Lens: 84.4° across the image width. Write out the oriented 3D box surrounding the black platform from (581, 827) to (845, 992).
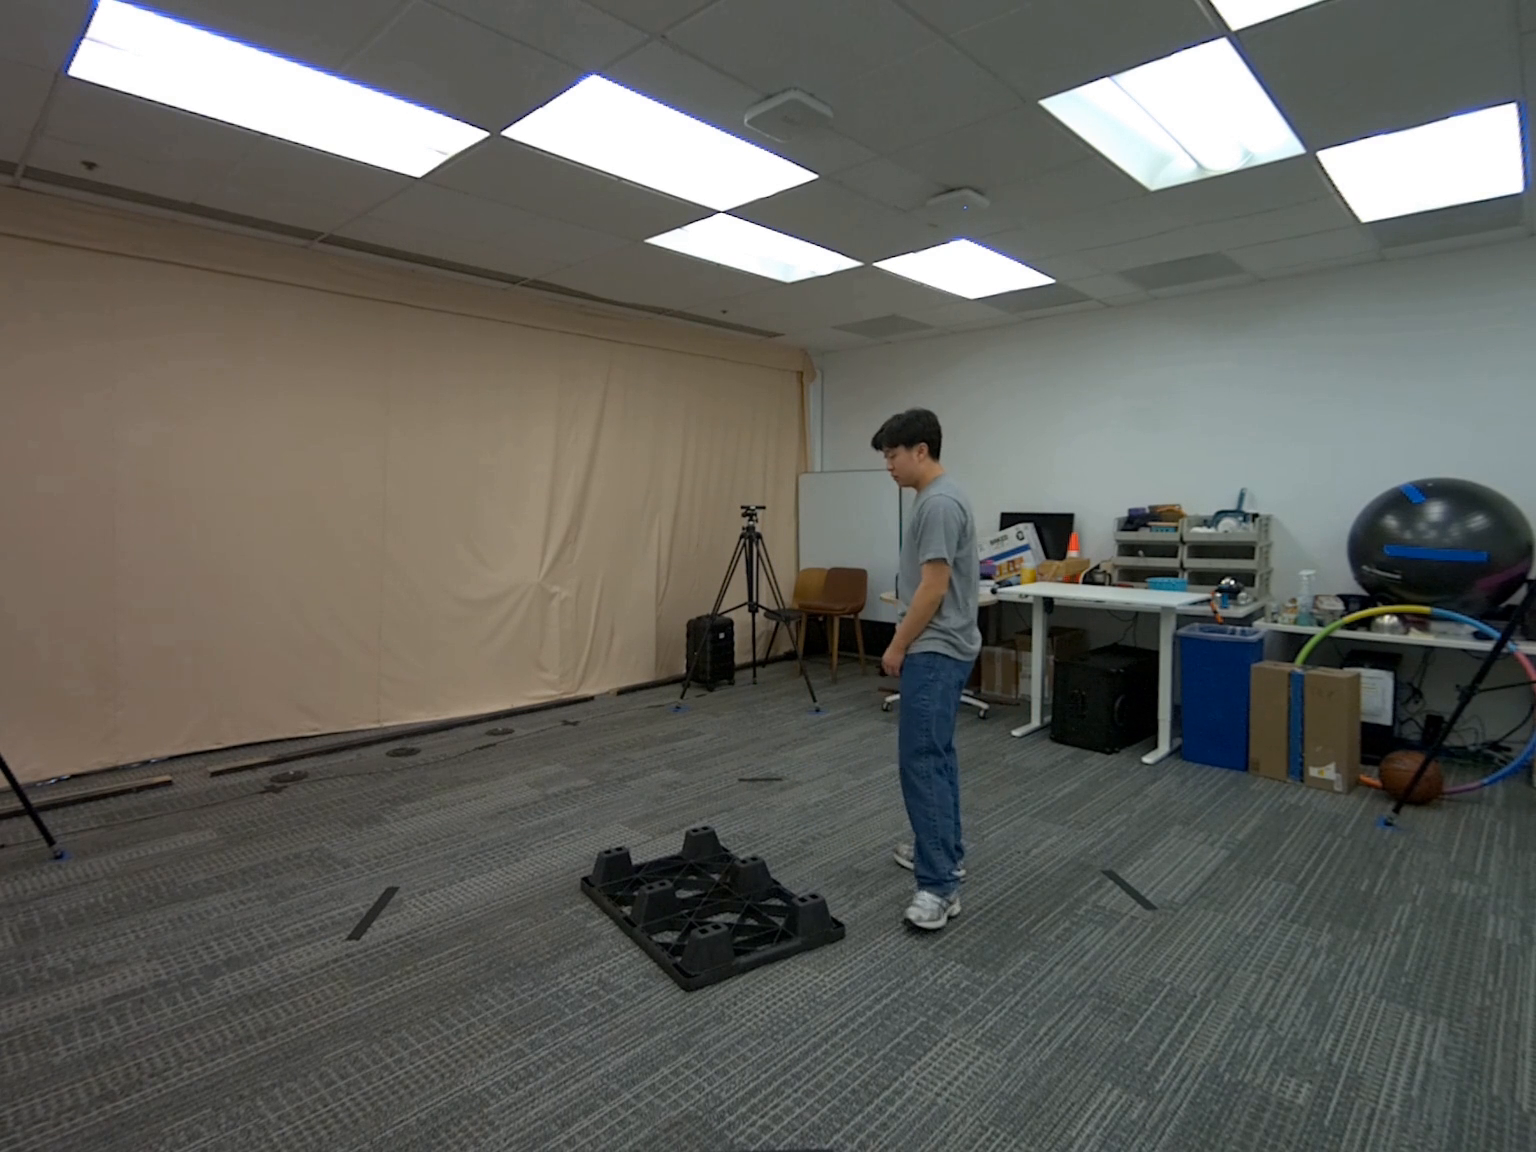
[{"bbox_3d":[-0.209,1.088,2.886,0.588,0.143,0.831,-4,6,-34],"label":"black platform"}]
